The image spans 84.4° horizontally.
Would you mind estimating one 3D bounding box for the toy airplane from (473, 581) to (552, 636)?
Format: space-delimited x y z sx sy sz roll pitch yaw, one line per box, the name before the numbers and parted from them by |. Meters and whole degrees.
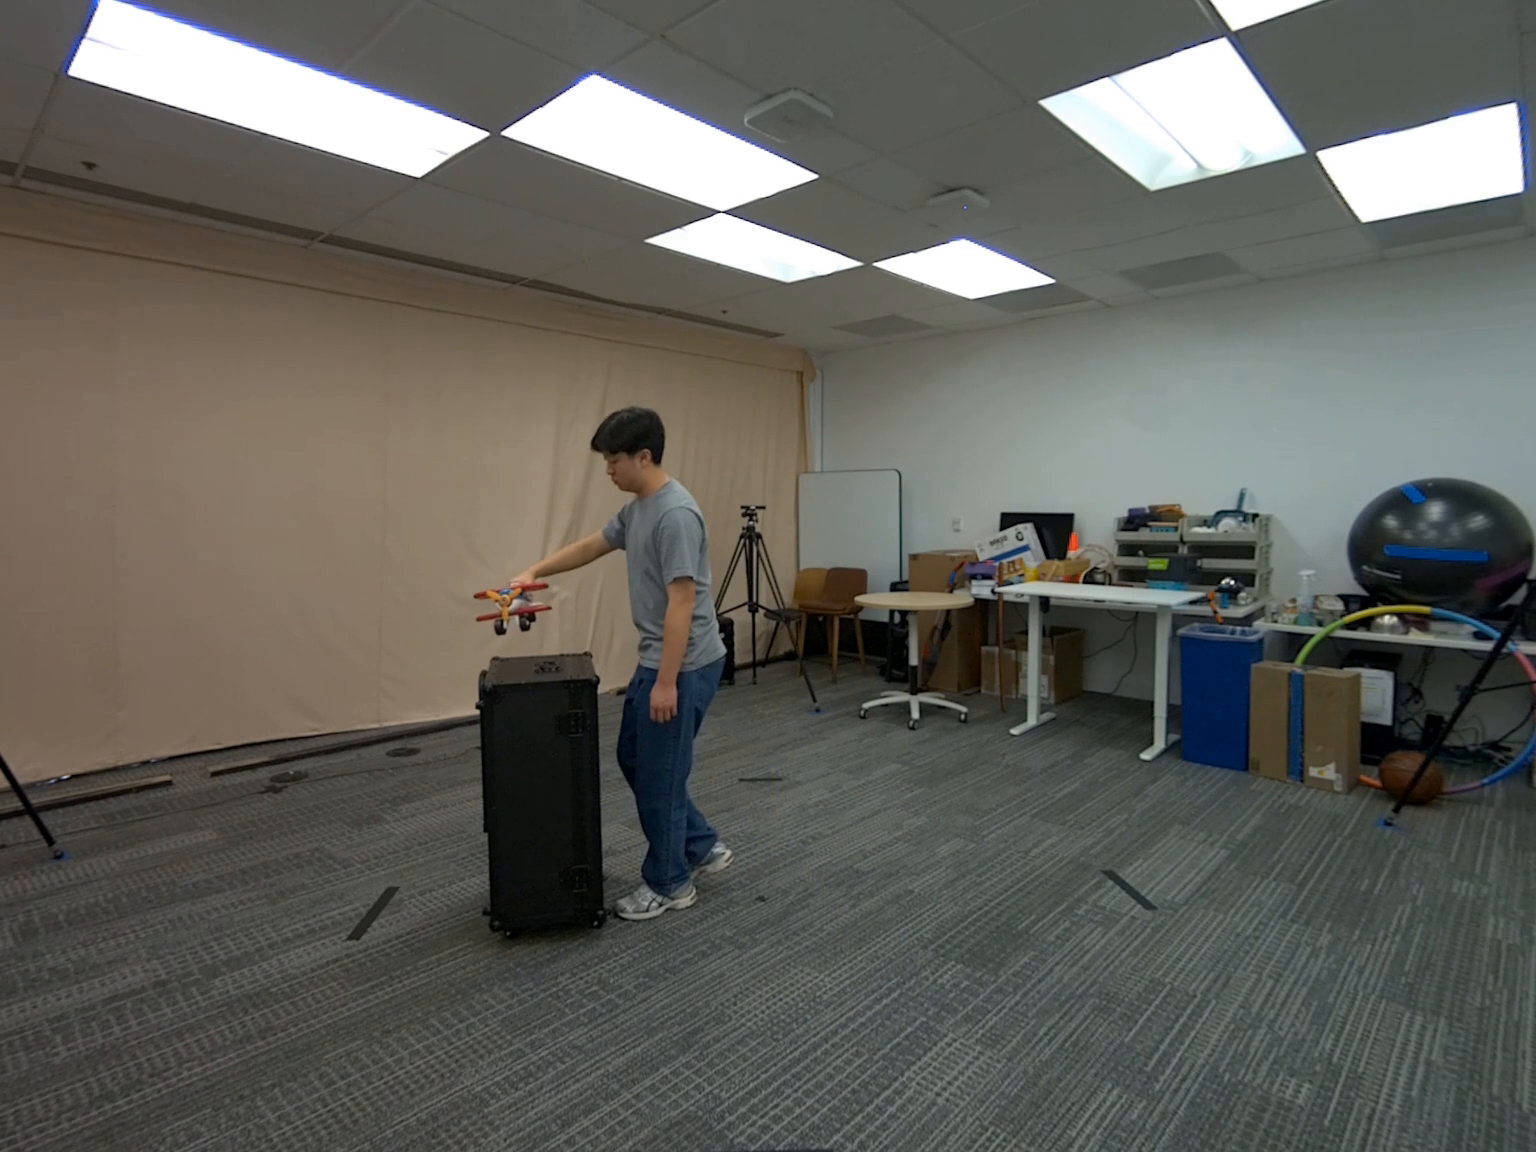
toy airplane | -0.884 0.105 2.882 0.246 0.155 0.266 -12 8 -26
